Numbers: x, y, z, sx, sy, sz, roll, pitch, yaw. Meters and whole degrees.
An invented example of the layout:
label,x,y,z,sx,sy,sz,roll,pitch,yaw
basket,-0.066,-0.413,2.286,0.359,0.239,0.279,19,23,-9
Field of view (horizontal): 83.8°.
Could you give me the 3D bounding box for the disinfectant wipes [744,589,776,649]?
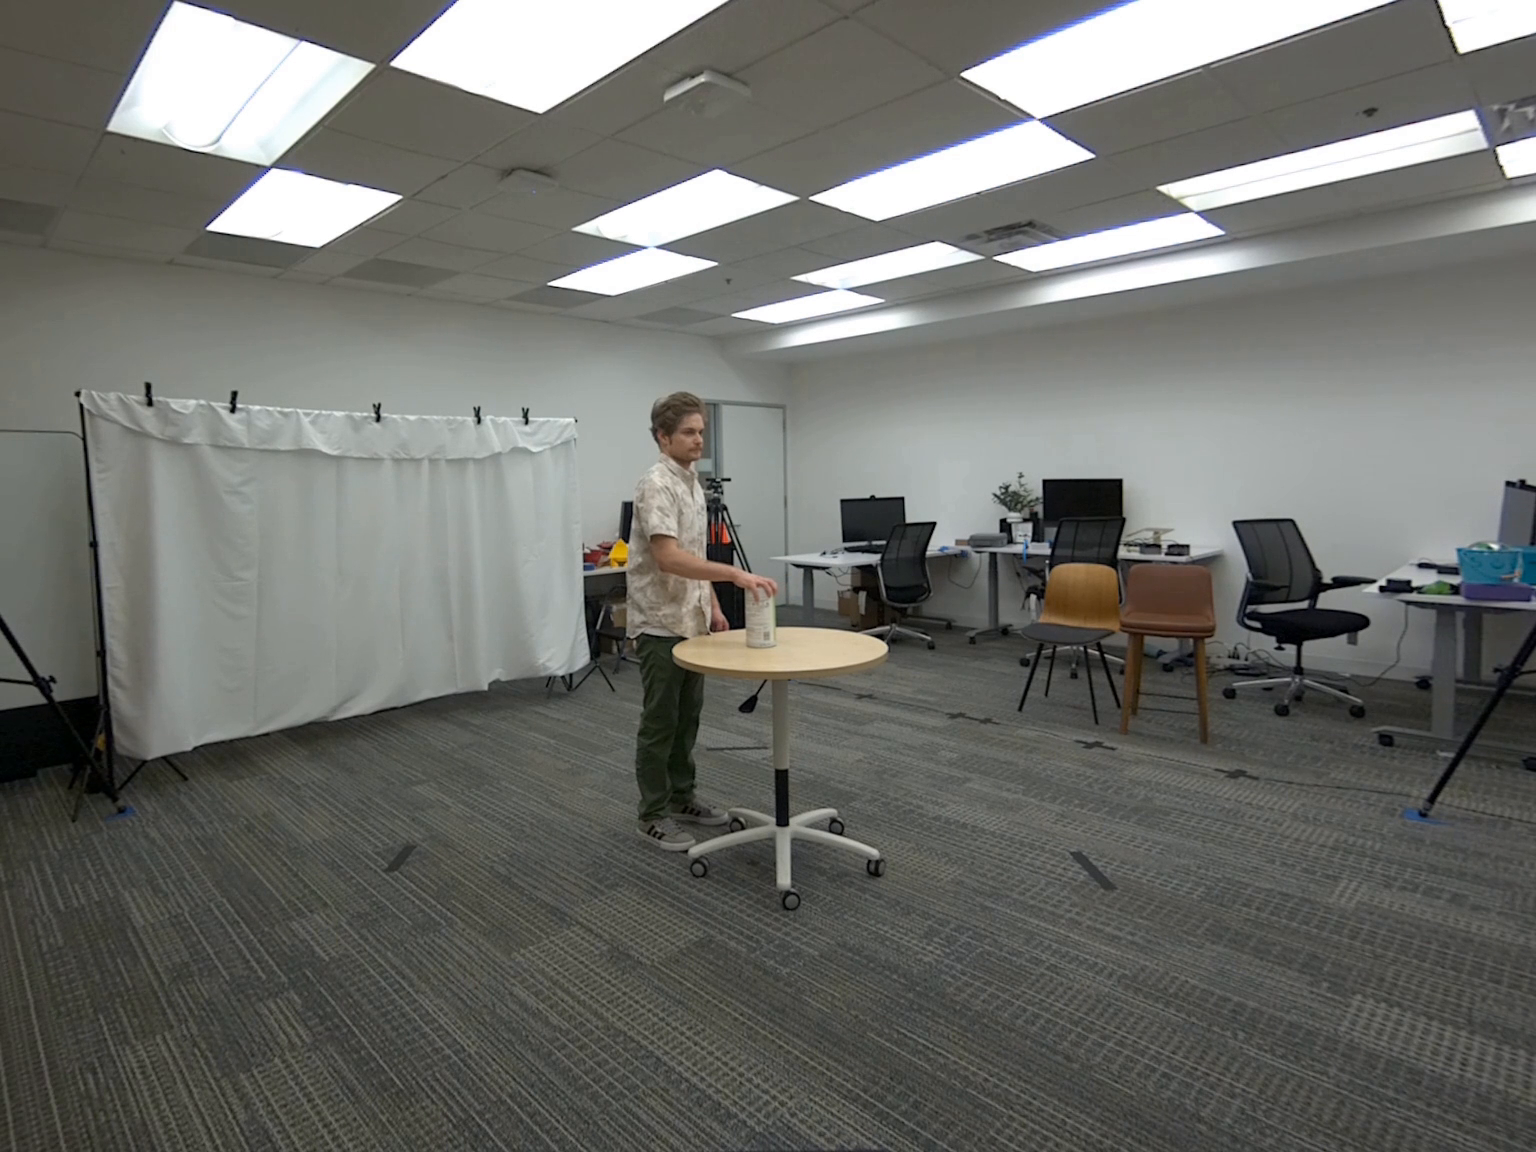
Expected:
label,x,y,z,sx,sy,sz,roll,pitch,yaw
disinfectant wipes,-0.022,0.149,3.083,0.118,0.217,0.118,0,3,-2
